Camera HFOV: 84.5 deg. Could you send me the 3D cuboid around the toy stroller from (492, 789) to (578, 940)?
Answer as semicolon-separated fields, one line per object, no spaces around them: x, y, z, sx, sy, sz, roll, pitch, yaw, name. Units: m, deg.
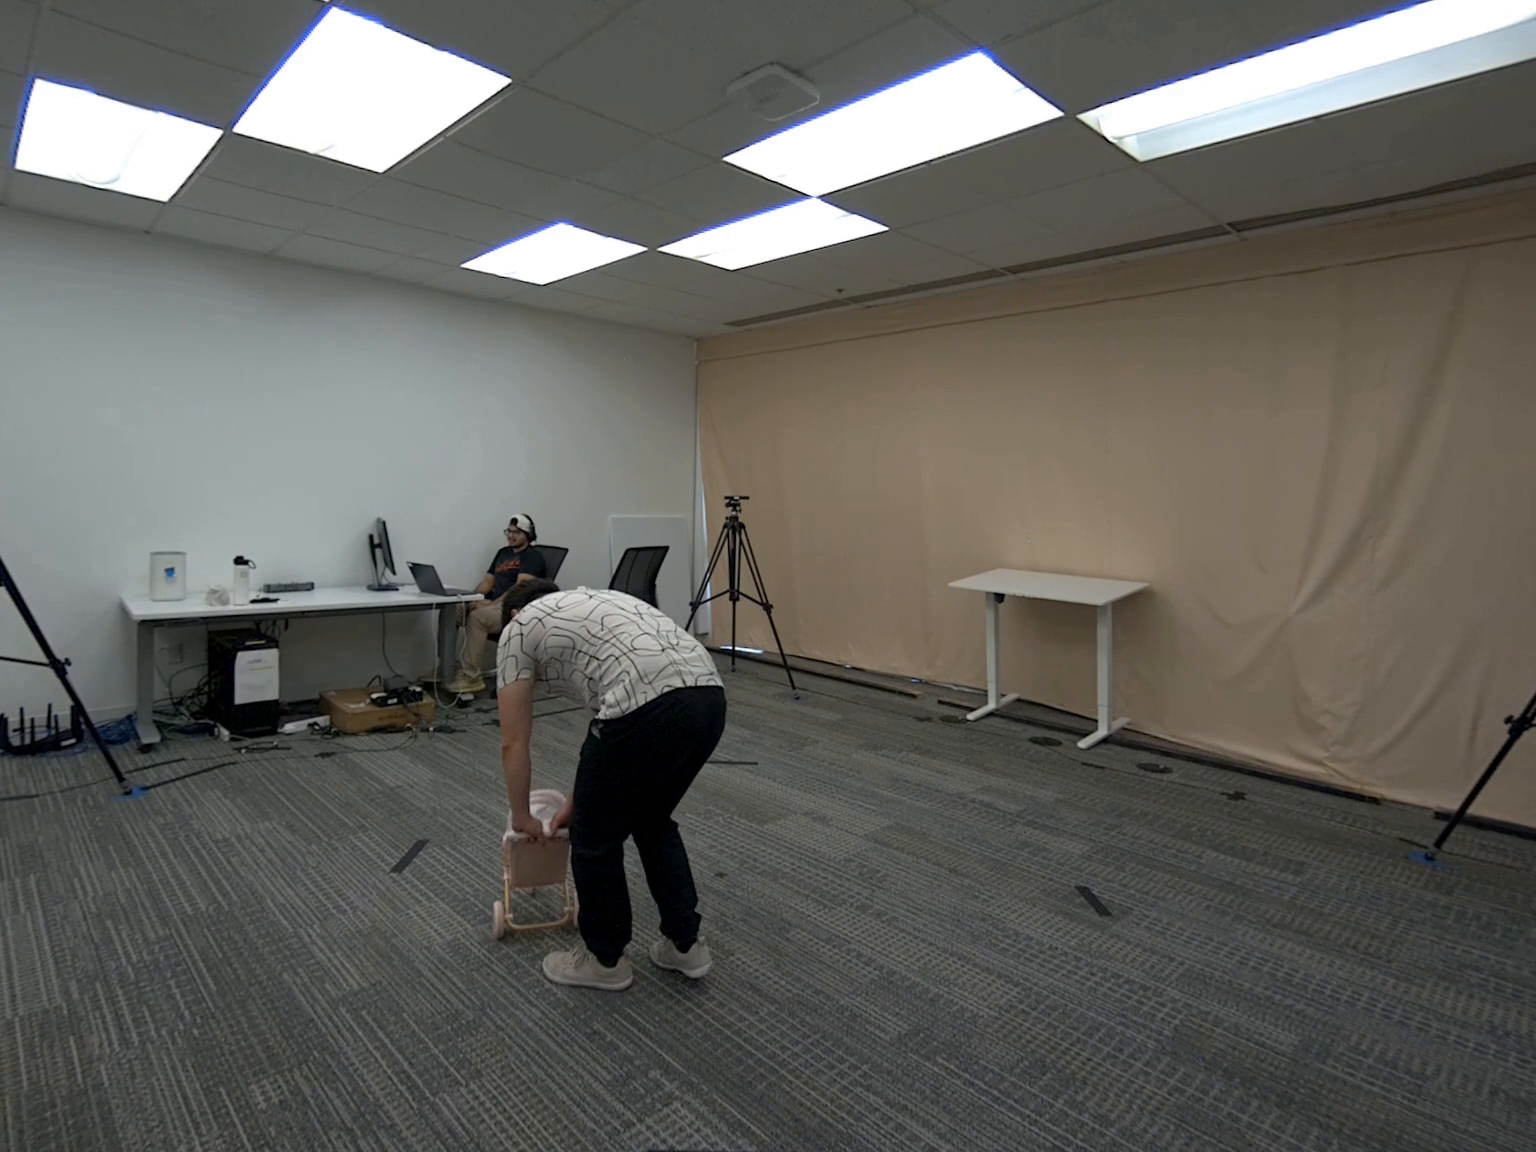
-0.743;0.908;2.709;0.278;0.527;0.350;2;25;-15;toy stroller
